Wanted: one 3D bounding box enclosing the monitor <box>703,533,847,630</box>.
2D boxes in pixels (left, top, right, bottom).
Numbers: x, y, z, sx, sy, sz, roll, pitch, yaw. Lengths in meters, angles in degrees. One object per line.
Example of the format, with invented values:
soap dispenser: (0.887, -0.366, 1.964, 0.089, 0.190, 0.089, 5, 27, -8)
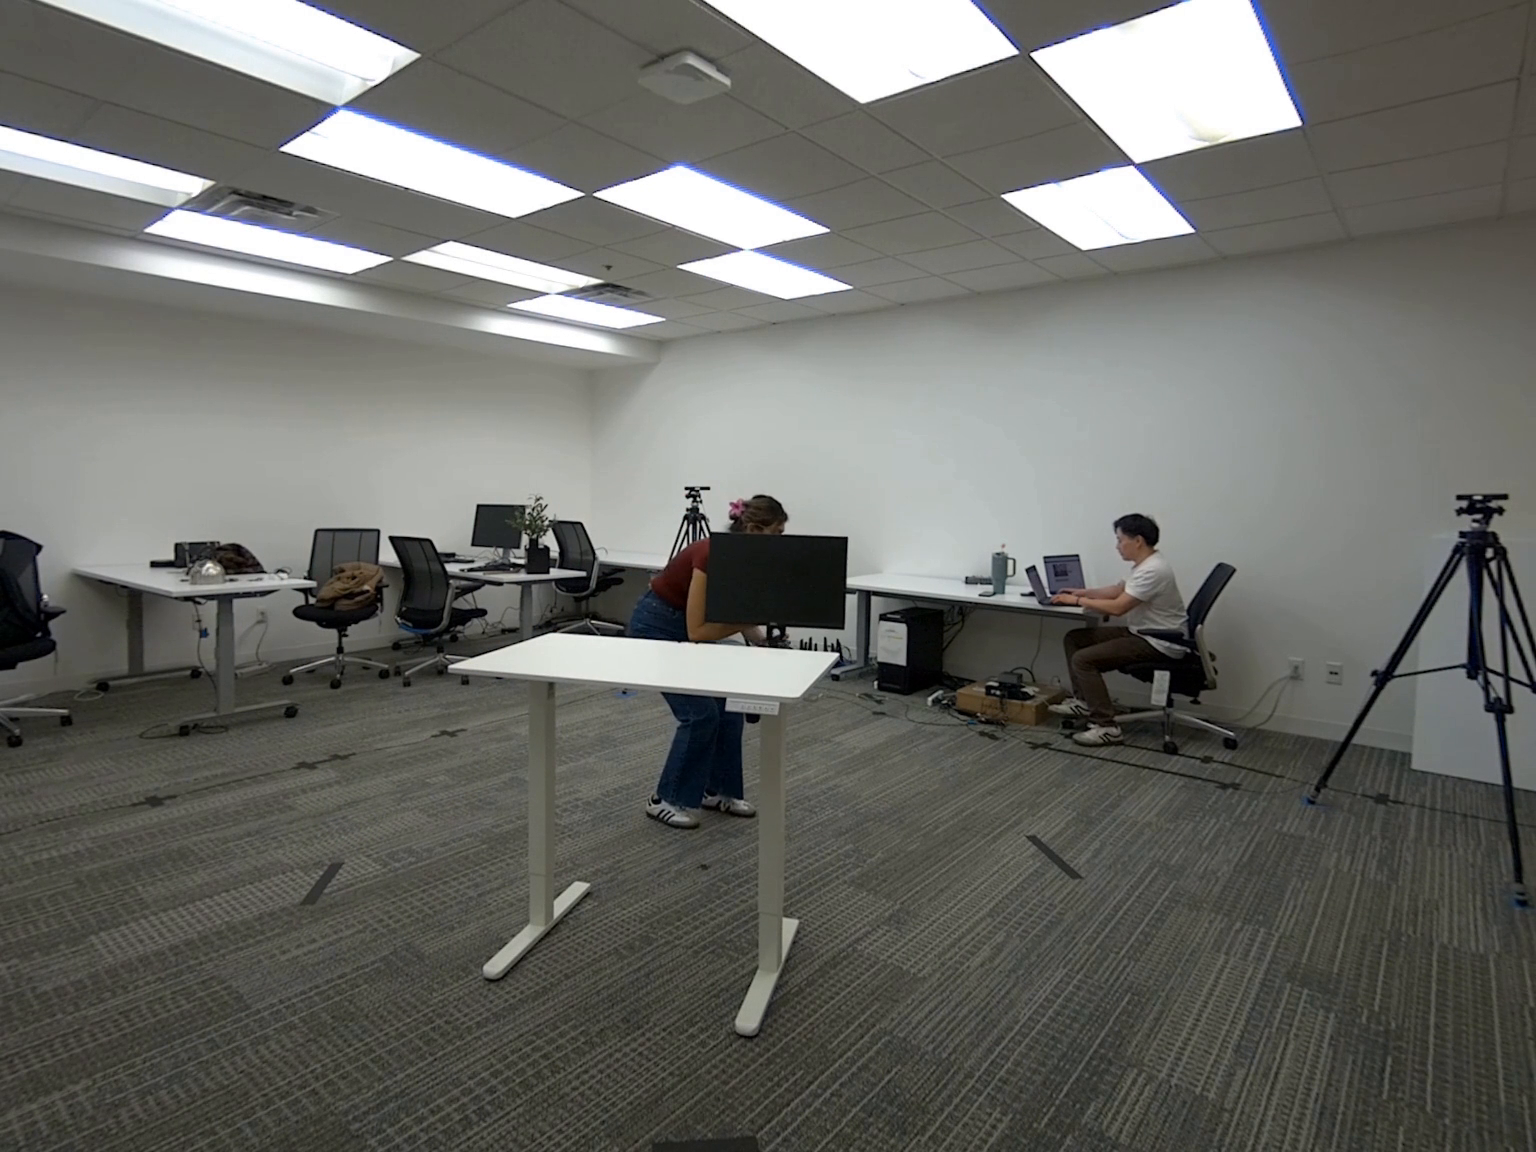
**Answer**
monitor: (0.030, 0.092, 3.298, 0.543, 0.518, 0.187, 2, 10, 7)
